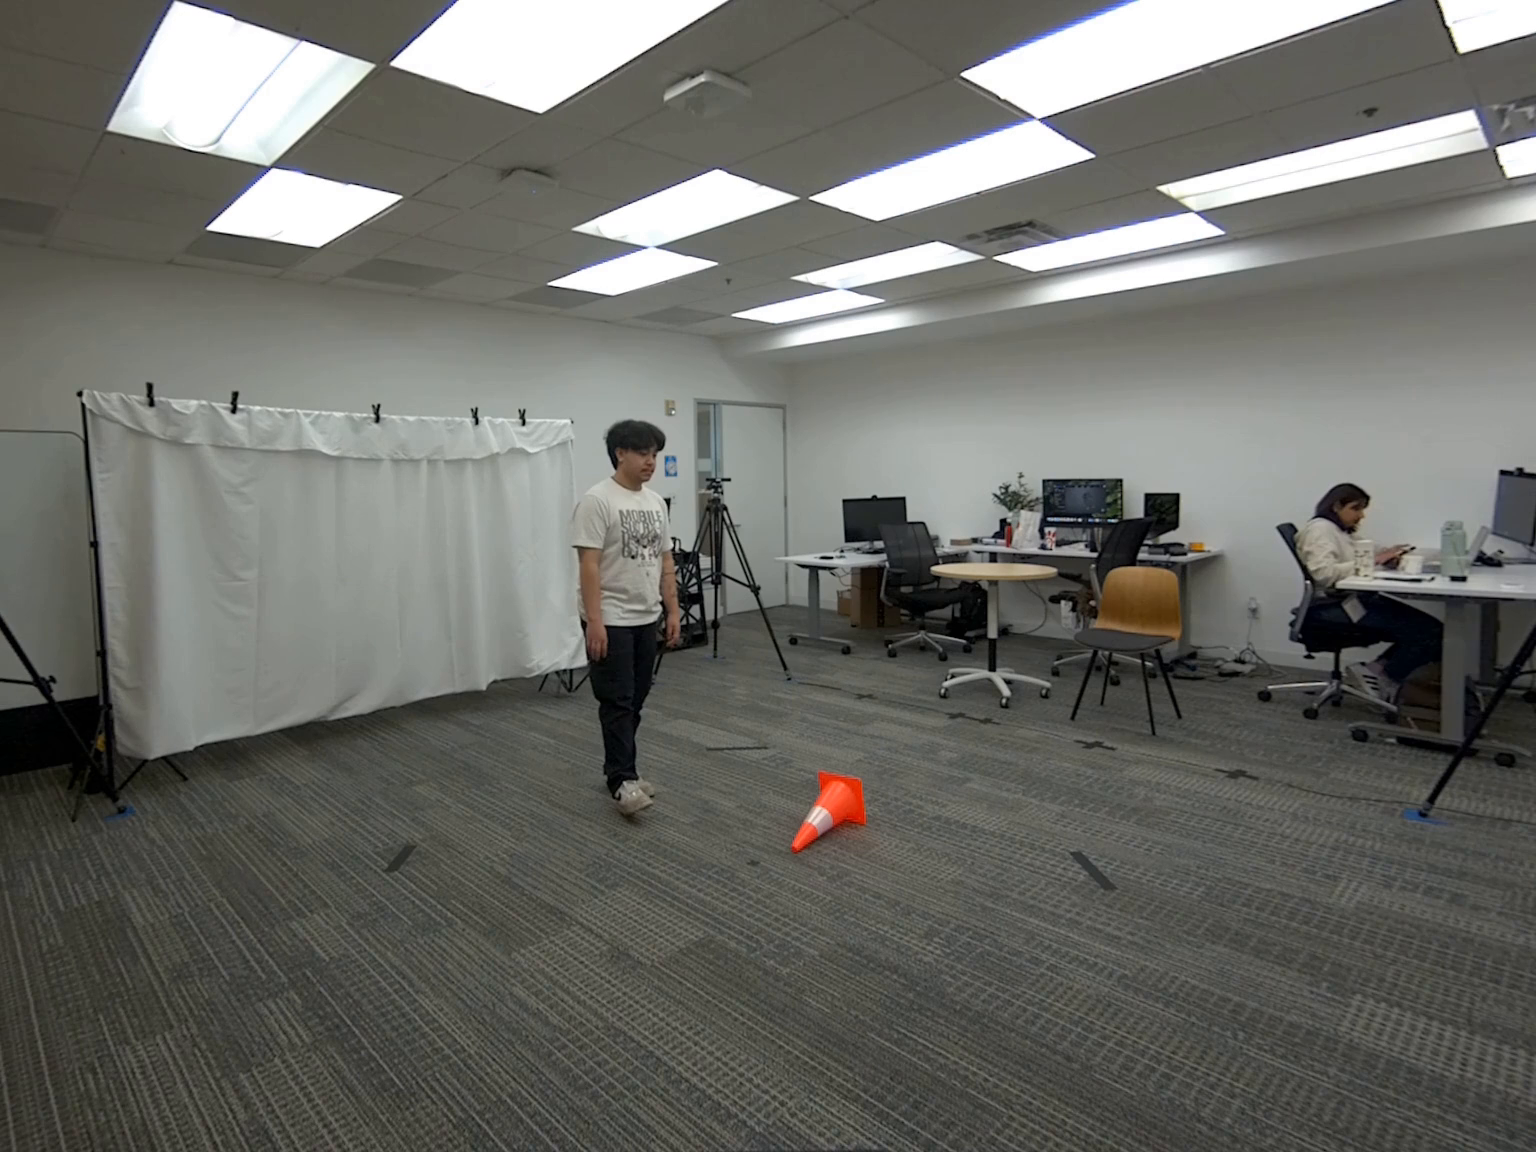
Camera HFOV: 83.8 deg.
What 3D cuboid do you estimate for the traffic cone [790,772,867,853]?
[{"bbox_3d":[0.204,0.962,3.326,0.211,0.200,0.379,1,19,35],"label":"traffic cone"}]
